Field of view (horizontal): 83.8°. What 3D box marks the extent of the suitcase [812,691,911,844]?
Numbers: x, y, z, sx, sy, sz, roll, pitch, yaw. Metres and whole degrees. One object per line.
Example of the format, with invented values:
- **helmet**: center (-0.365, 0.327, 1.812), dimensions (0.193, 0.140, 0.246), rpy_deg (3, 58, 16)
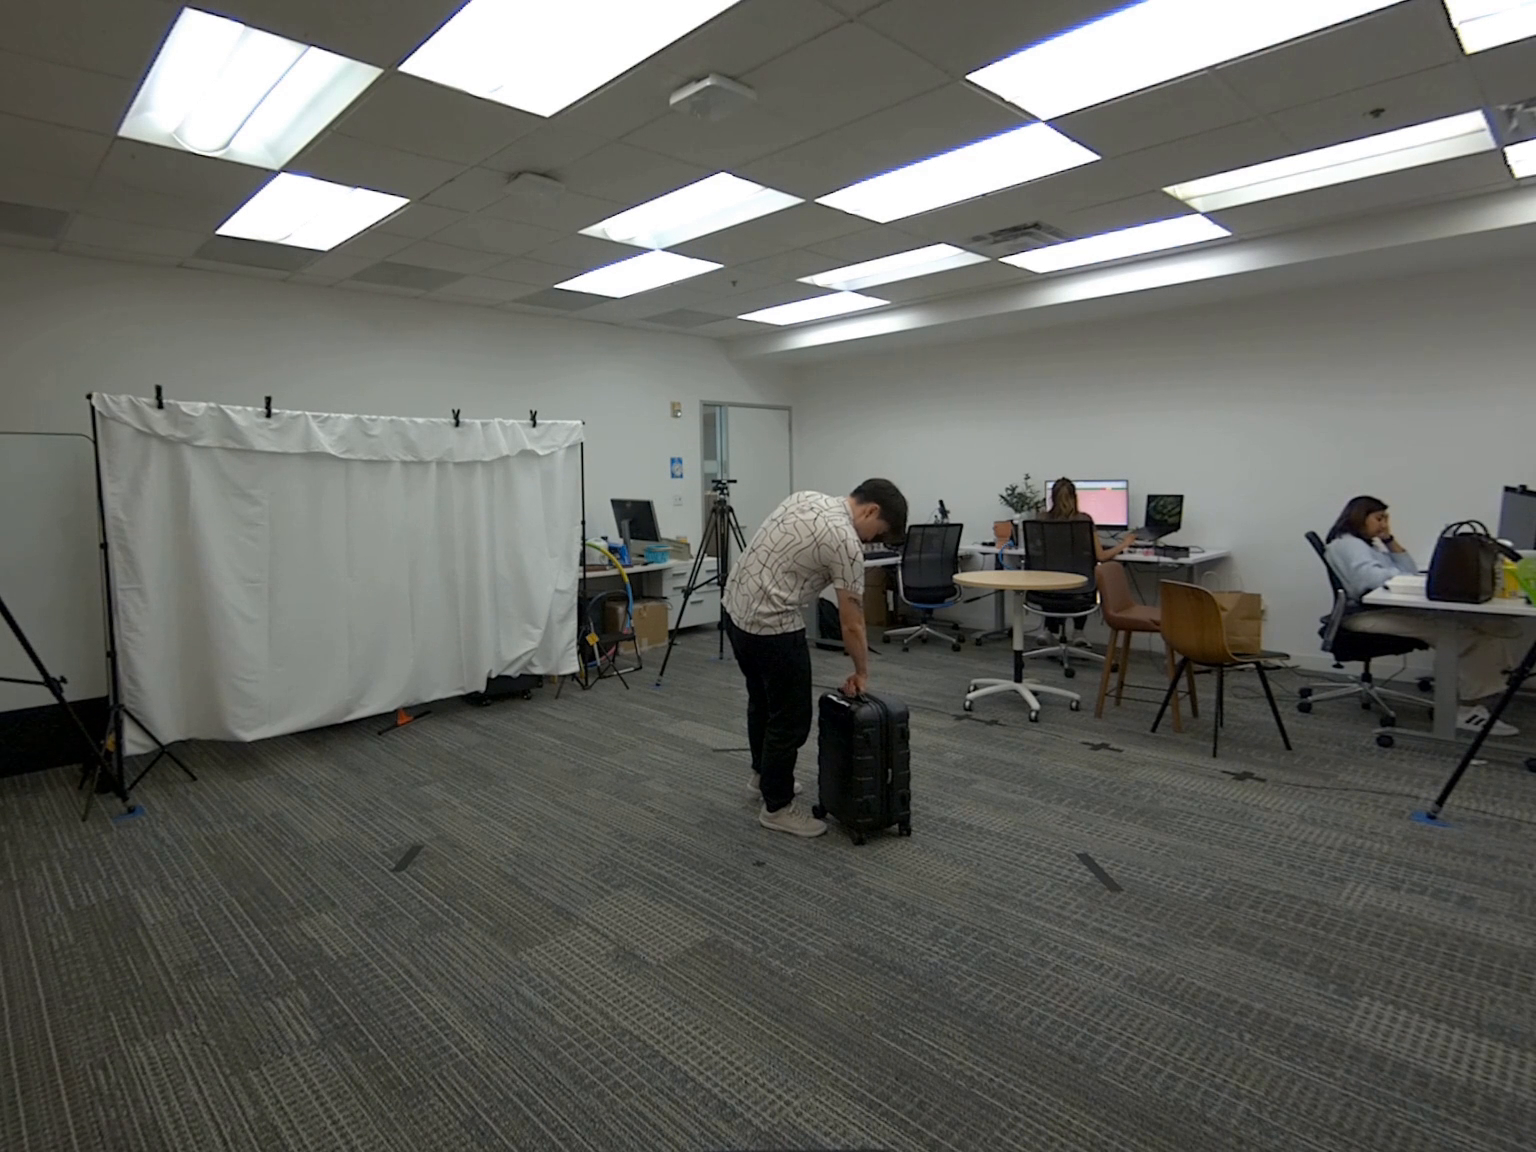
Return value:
- **suitcase**: center (0.379, 0.728, 3.404), dimensions (0.243, 0.547, 0.385), rpy_deg (-3, 6, -25)
